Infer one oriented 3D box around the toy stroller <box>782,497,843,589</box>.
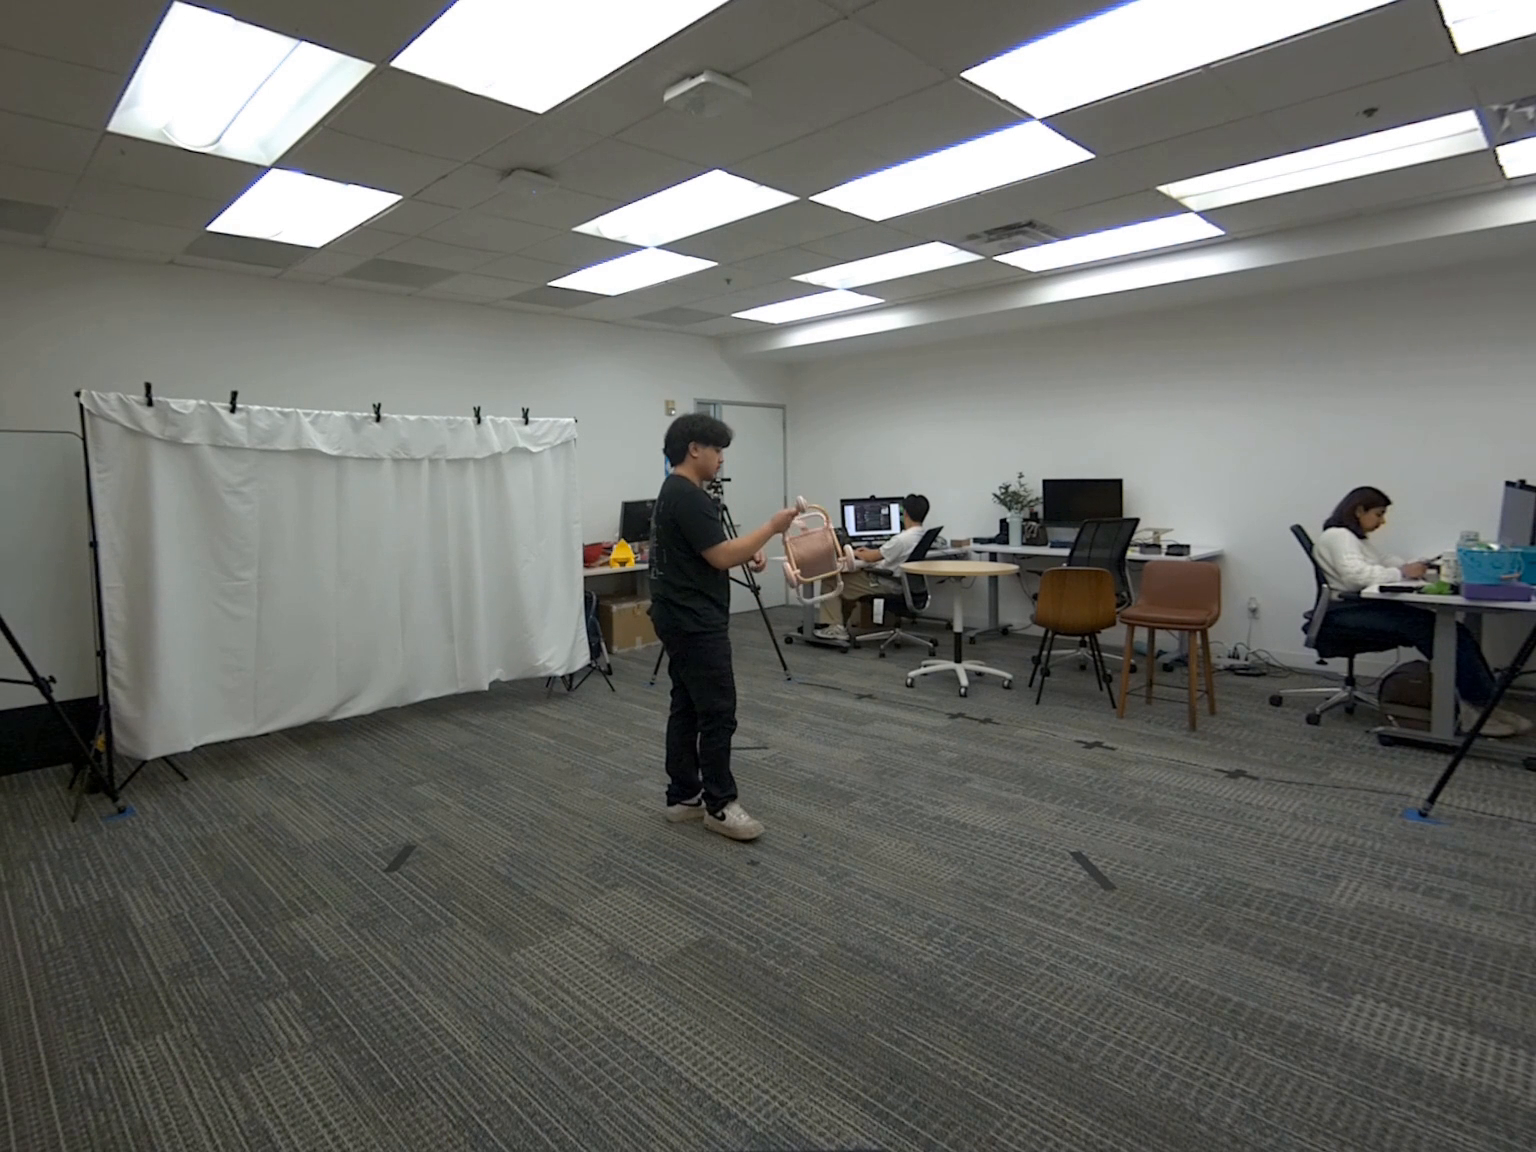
[{"bbox_3d":[0.173,-0.102,3.547,0.281,0.348,0.525,-20,-15,-2],"label":"toy stroller"}]
